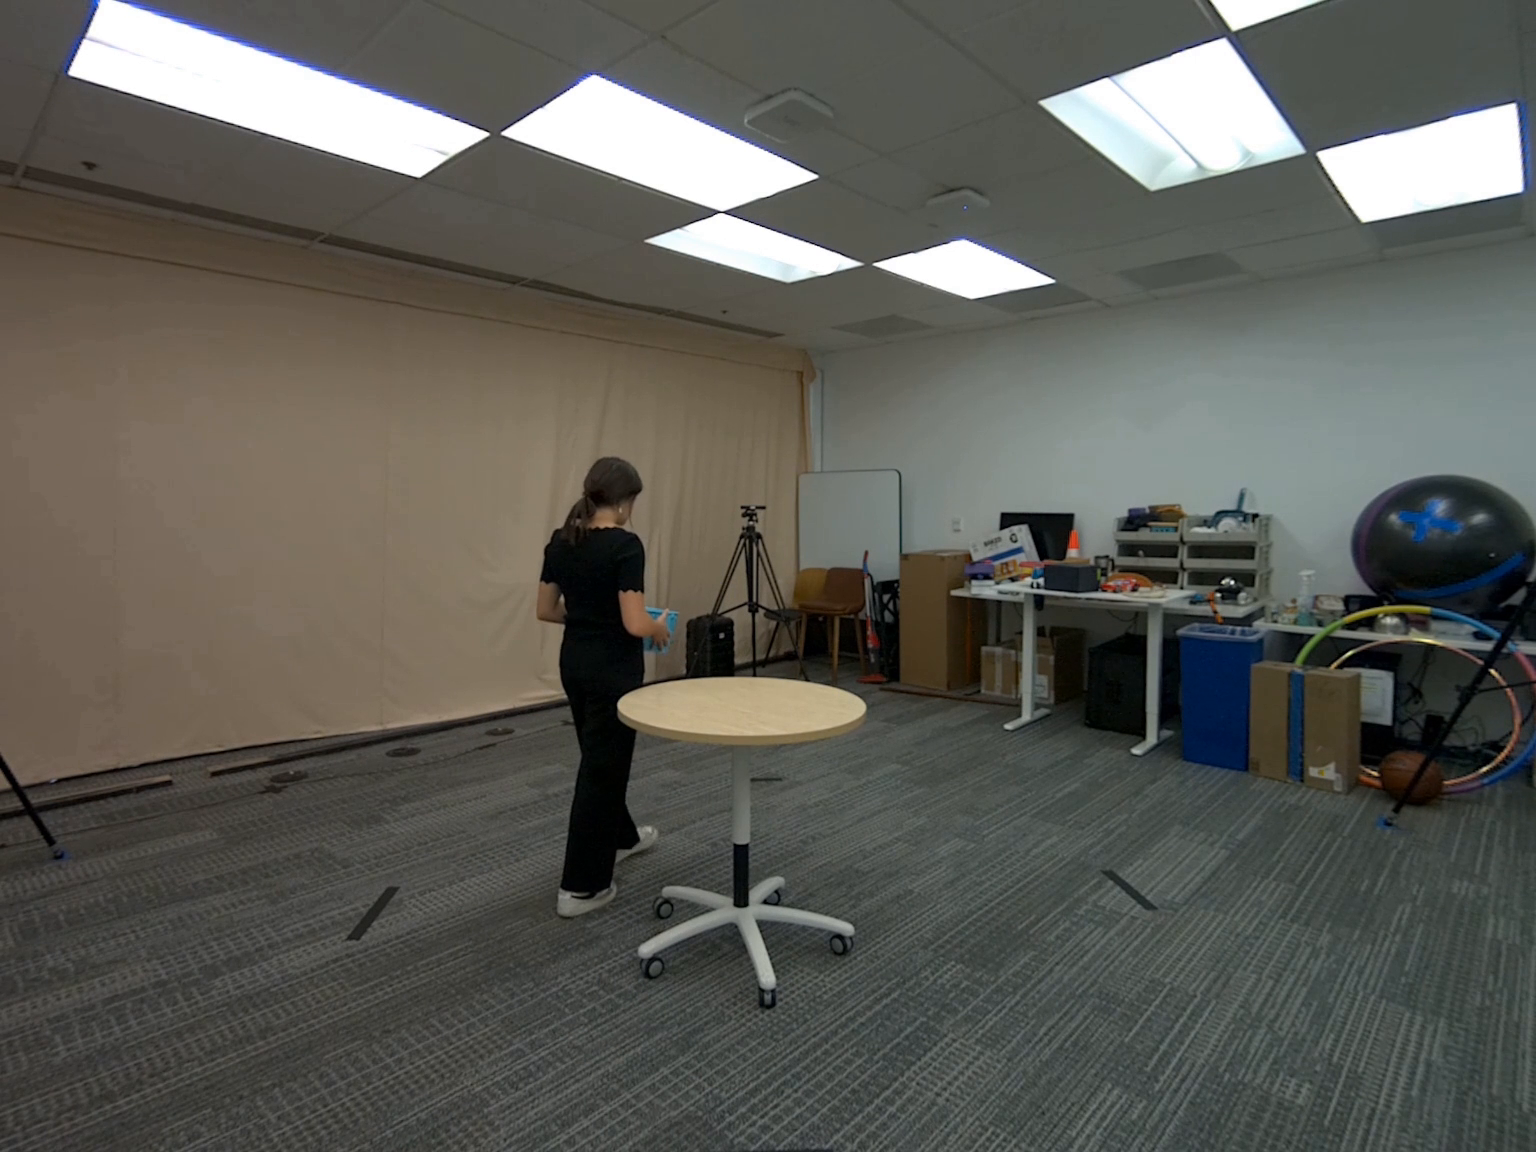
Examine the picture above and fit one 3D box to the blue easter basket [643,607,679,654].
[{"bbox_3d":[-0.467,0.200,3.190,0.243,0.156,0.244,7,-1,-2],"label":"blue easter basket"}]
